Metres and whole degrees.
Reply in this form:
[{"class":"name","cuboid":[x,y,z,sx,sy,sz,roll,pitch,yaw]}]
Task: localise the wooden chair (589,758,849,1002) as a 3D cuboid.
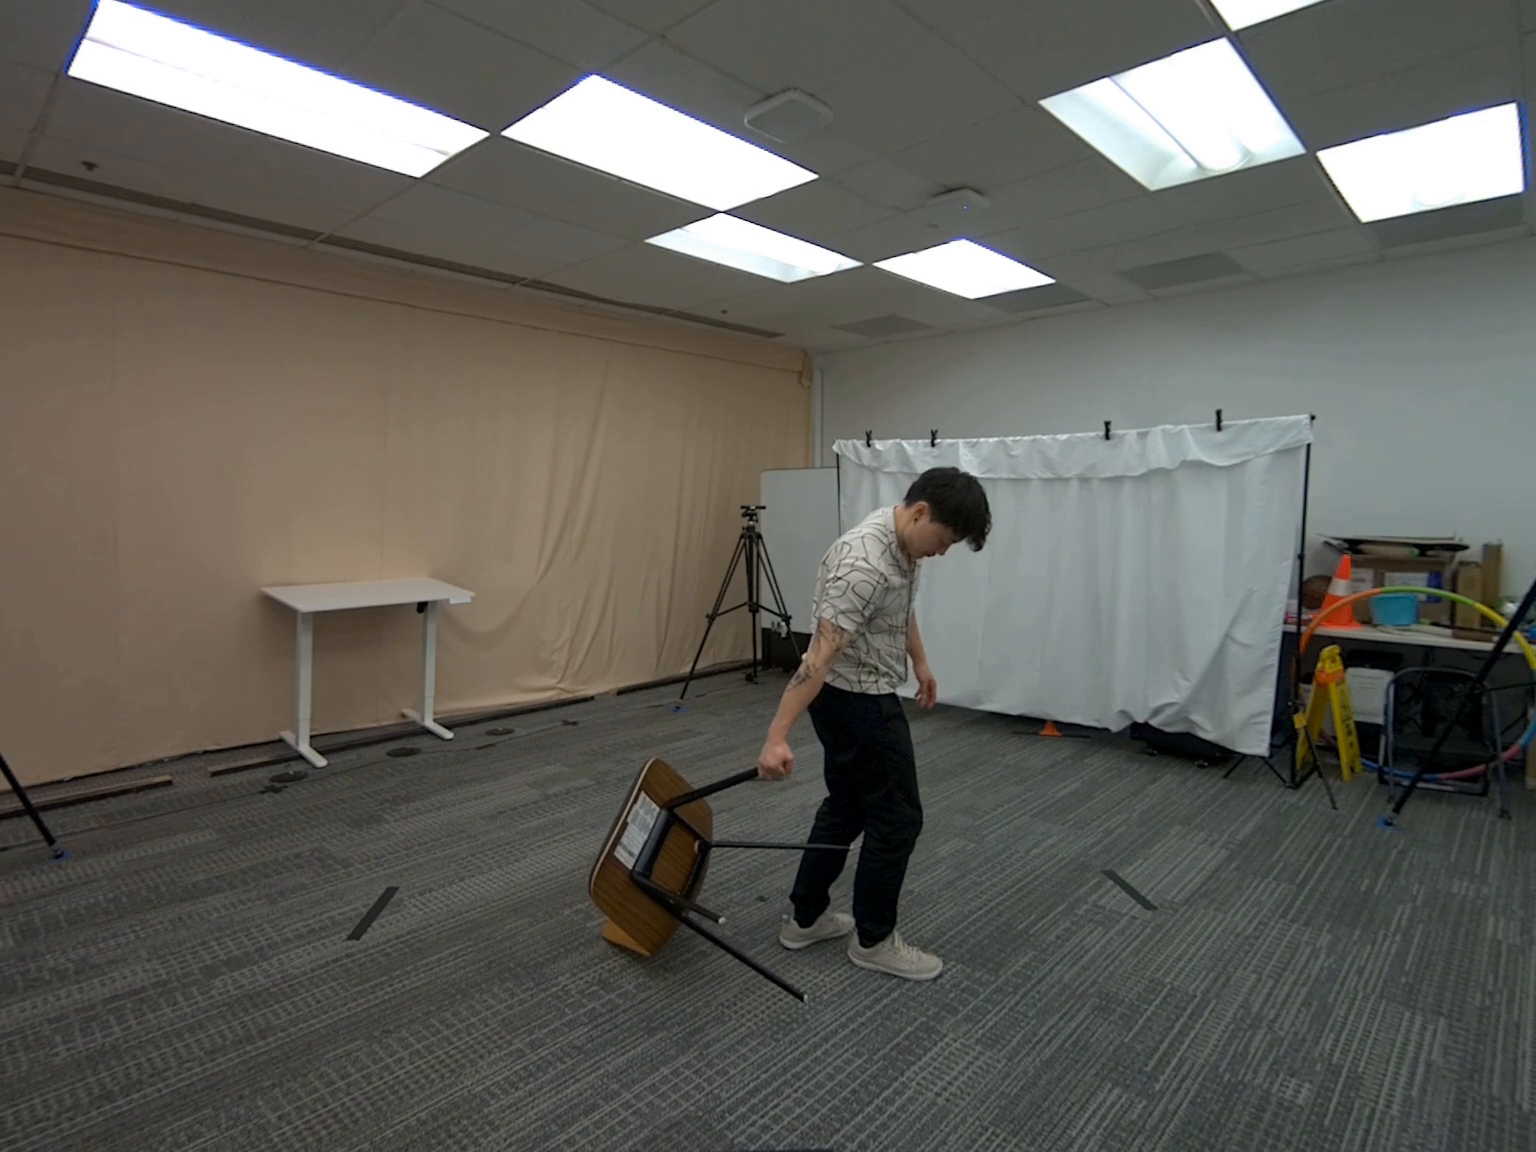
[{"class":"wooden chair","cuboid":[-0.274,0.848,2.498,0.902,0.479,0.508,-10,-49,41]}]
